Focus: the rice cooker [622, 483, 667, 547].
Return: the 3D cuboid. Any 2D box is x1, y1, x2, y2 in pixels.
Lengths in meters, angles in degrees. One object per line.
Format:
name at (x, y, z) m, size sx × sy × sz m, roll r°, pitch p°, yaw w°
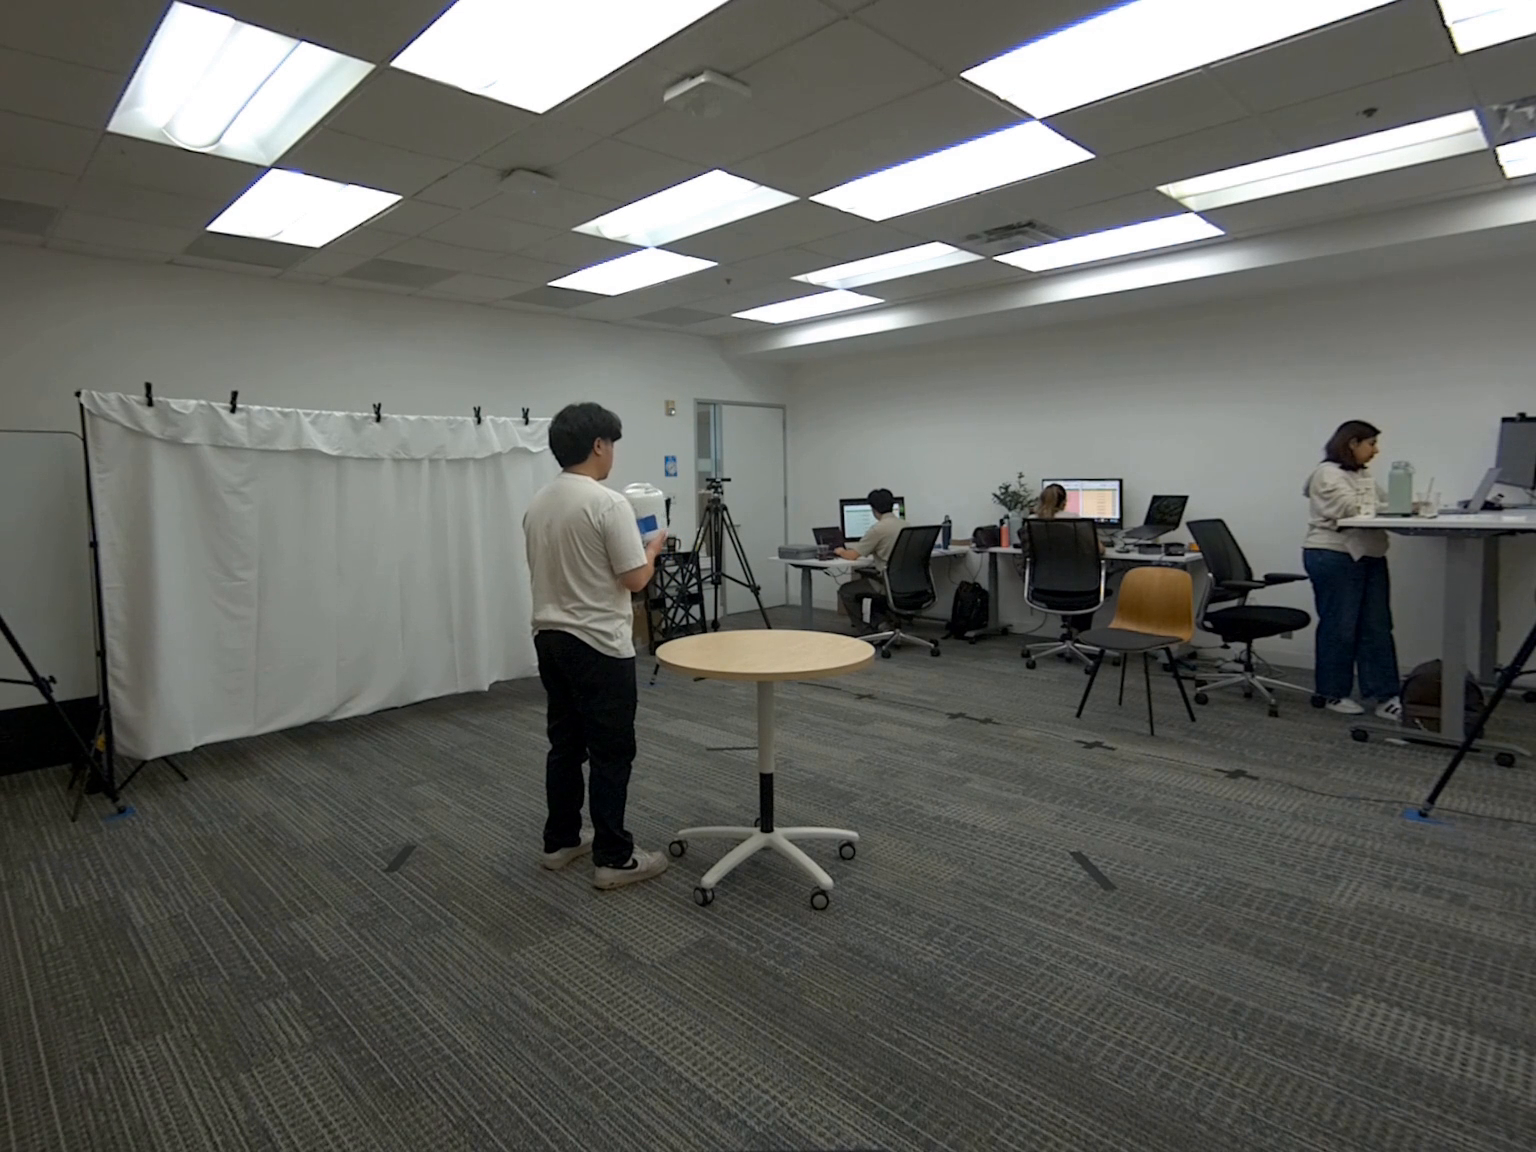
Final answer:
rice cooker at (-0.489, -0.232, 3.230) m, size 0.224 × 0.231 × 0.216 m, roll 5°, pitch 13°, yaw 43°
